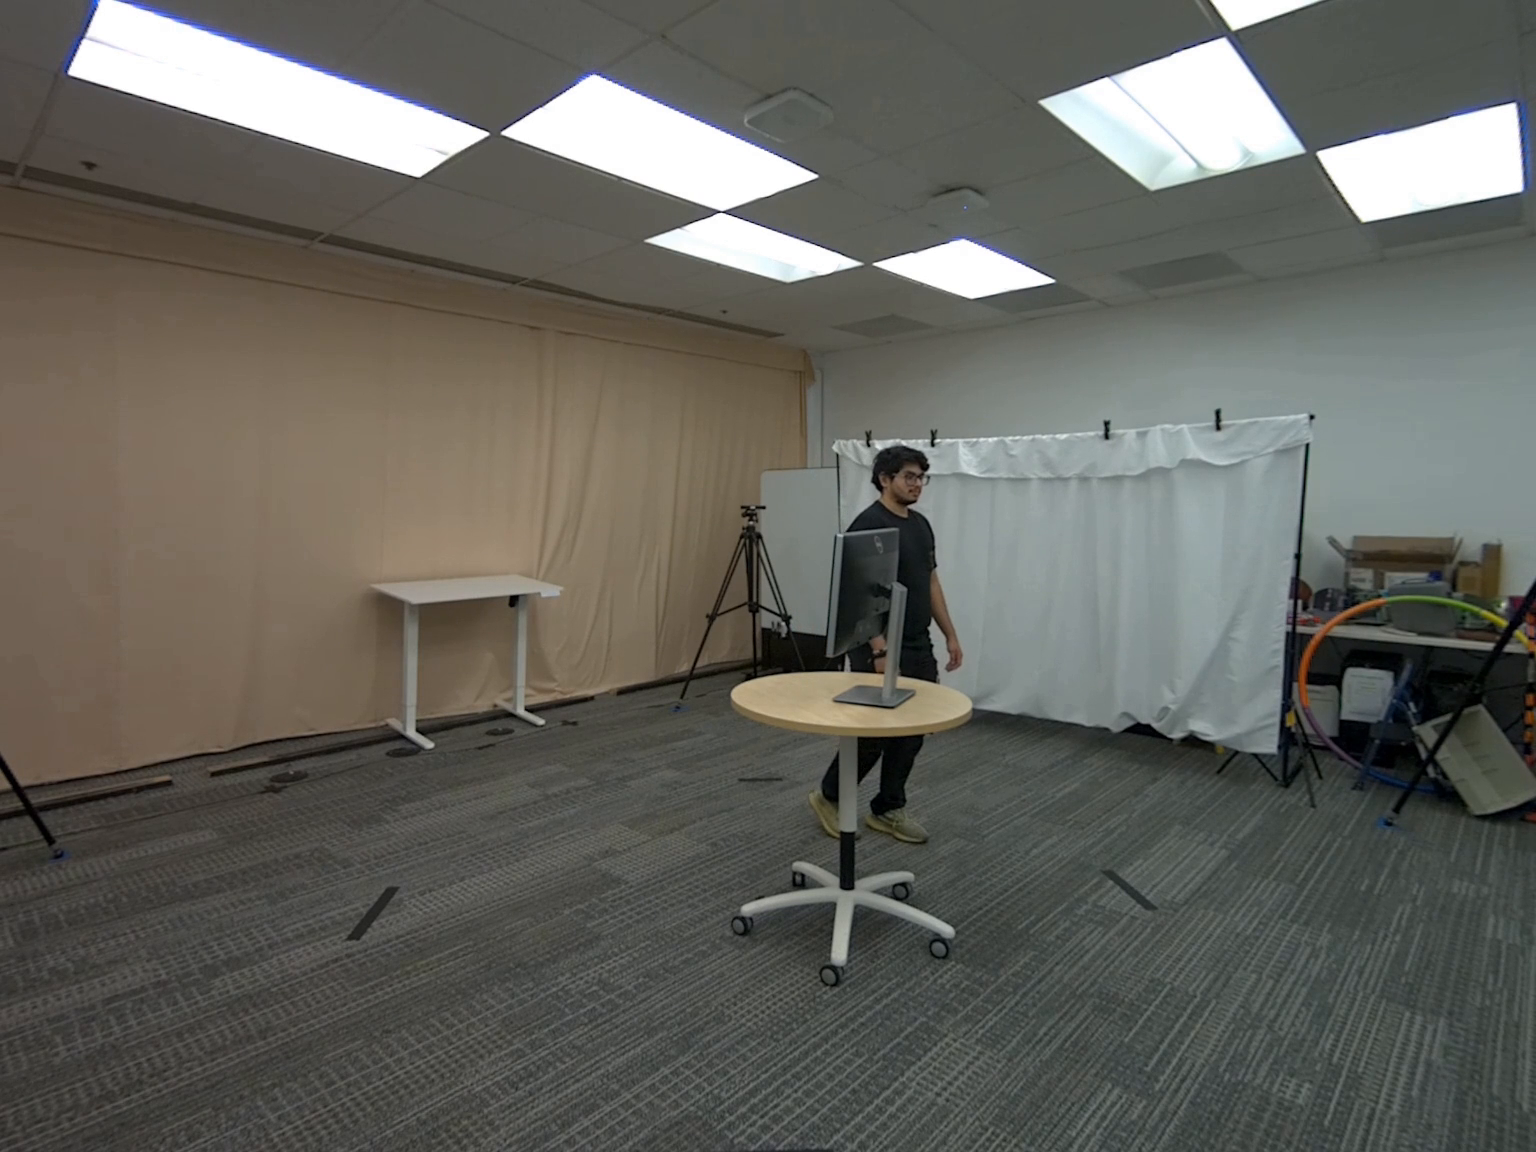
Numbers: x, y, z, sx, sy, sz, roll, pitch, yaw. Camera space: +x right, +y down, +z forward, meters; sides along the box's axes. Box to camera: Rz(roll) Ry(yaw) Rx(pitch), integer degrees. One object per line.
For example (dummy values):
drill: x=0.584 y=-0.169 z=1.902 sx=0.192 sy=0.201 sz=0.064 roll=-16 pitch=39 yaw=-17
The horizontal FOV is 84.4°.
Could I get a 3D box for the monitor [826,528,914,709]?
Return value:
monitor: x=0.372 y=0.132 z=2.662 sx=0.216 sy=0.552 sz=0.551 roll=5 pitch=5 yaw=26
